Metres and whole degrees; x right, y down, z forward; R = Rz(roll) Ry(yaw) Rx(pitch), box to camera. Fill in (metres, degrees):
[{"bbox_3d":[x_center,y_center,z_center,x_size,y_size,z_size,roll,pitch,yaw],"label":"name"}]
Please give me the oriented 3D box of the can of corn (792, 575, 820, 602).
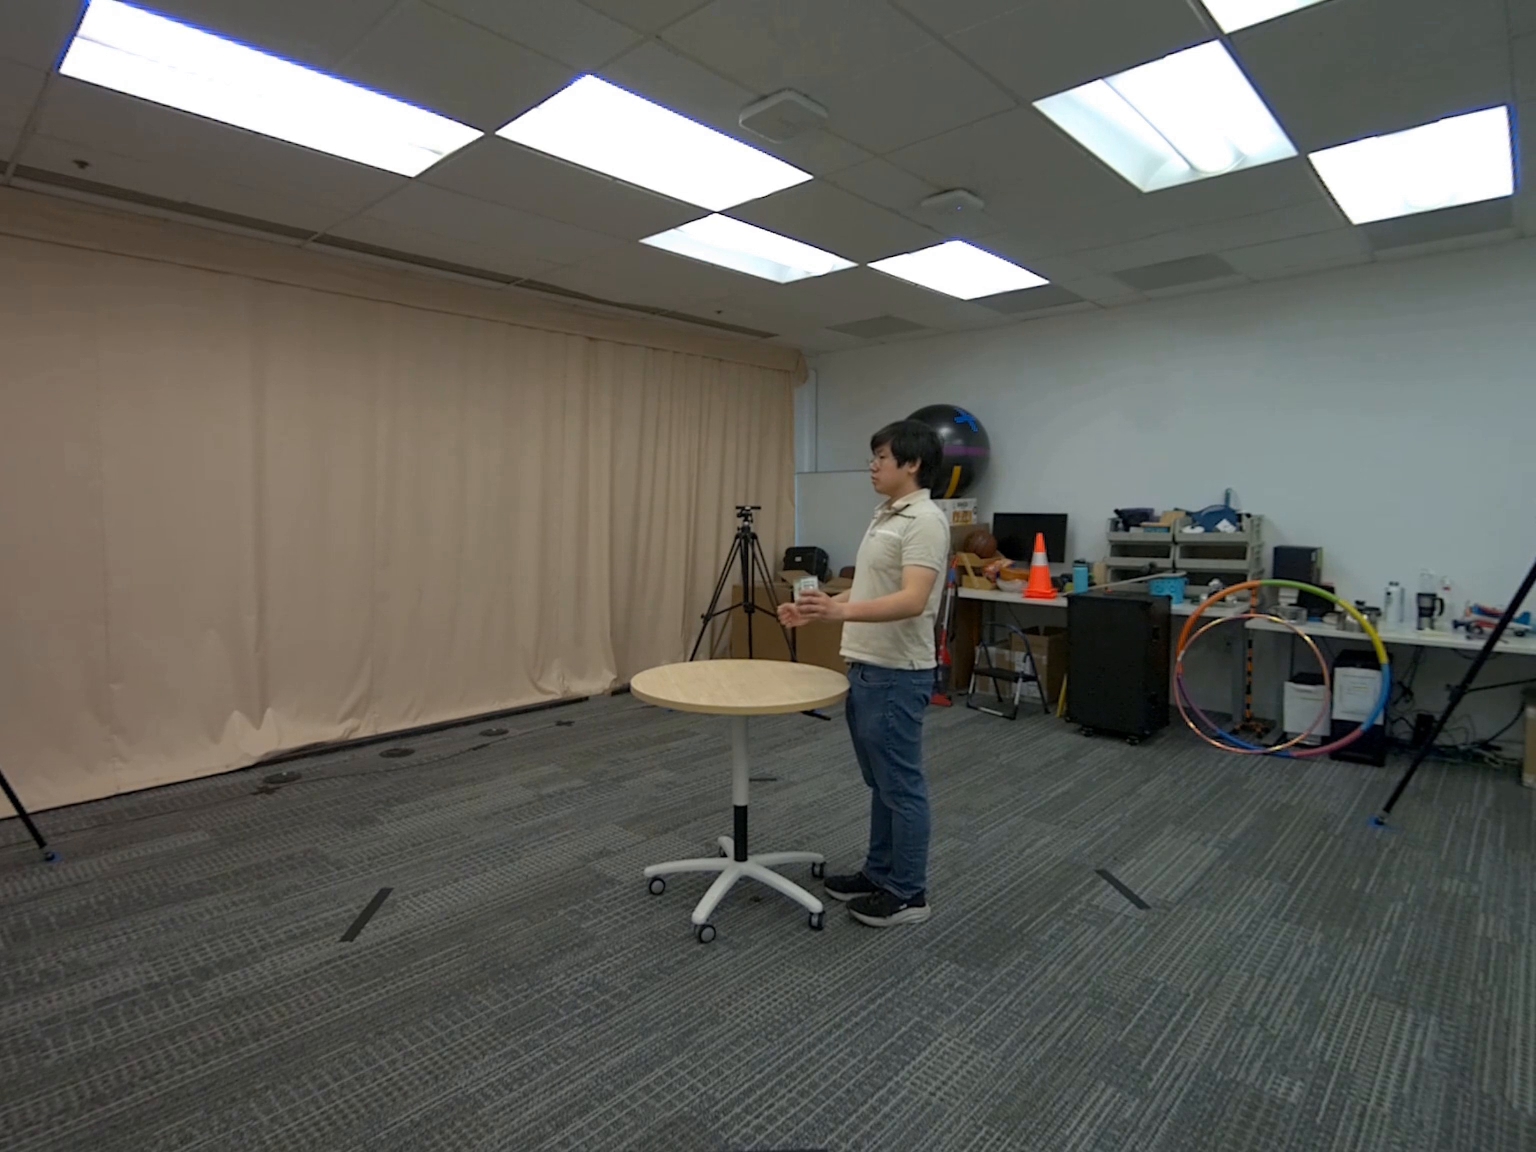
[{"bbox_3d":[0.120,0.061,2.569,0.074,0.111,0.074,-3,3,-2],"label":"can of corn"}]
